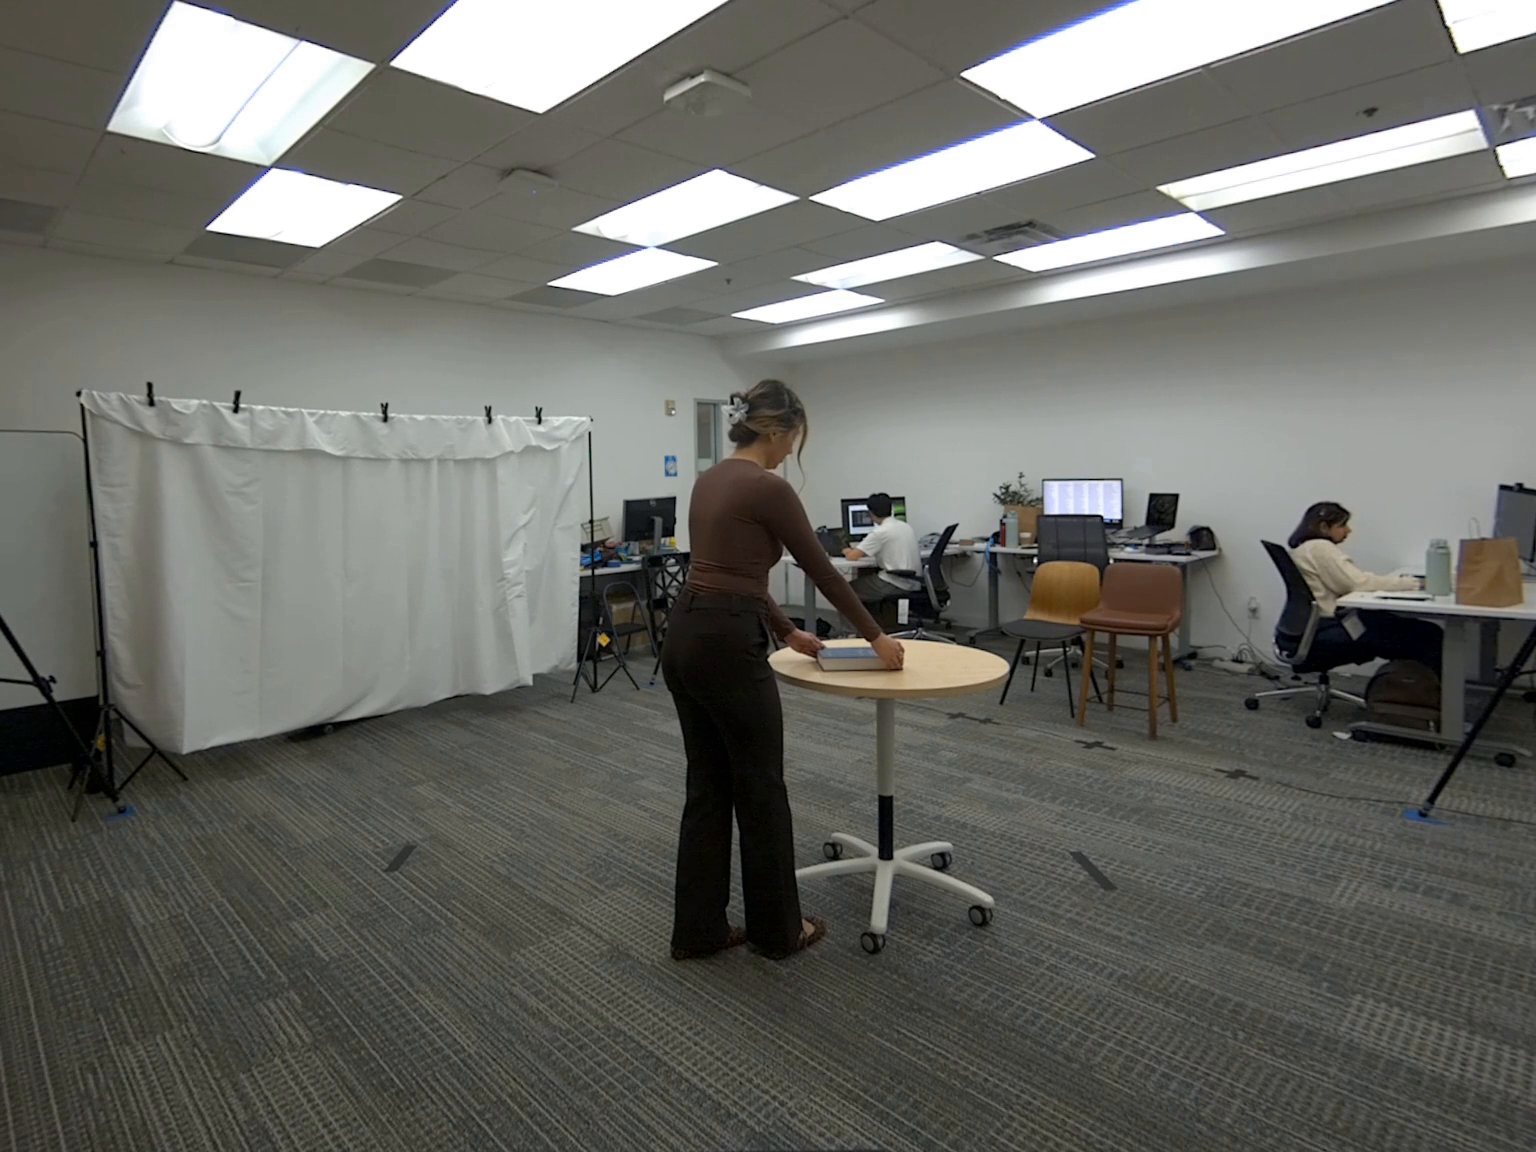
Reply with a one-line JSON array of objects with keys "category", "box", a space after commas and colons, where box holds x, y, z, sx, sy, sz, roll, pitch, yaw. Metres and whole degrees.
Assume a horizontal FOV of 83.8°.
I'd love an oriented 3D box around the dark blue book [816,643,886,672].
[{"category": "dark blue book", "box": [0.286, 0.270, 2.709, 0.245, 0.045, 0.164, -1, 7, -1]}]
